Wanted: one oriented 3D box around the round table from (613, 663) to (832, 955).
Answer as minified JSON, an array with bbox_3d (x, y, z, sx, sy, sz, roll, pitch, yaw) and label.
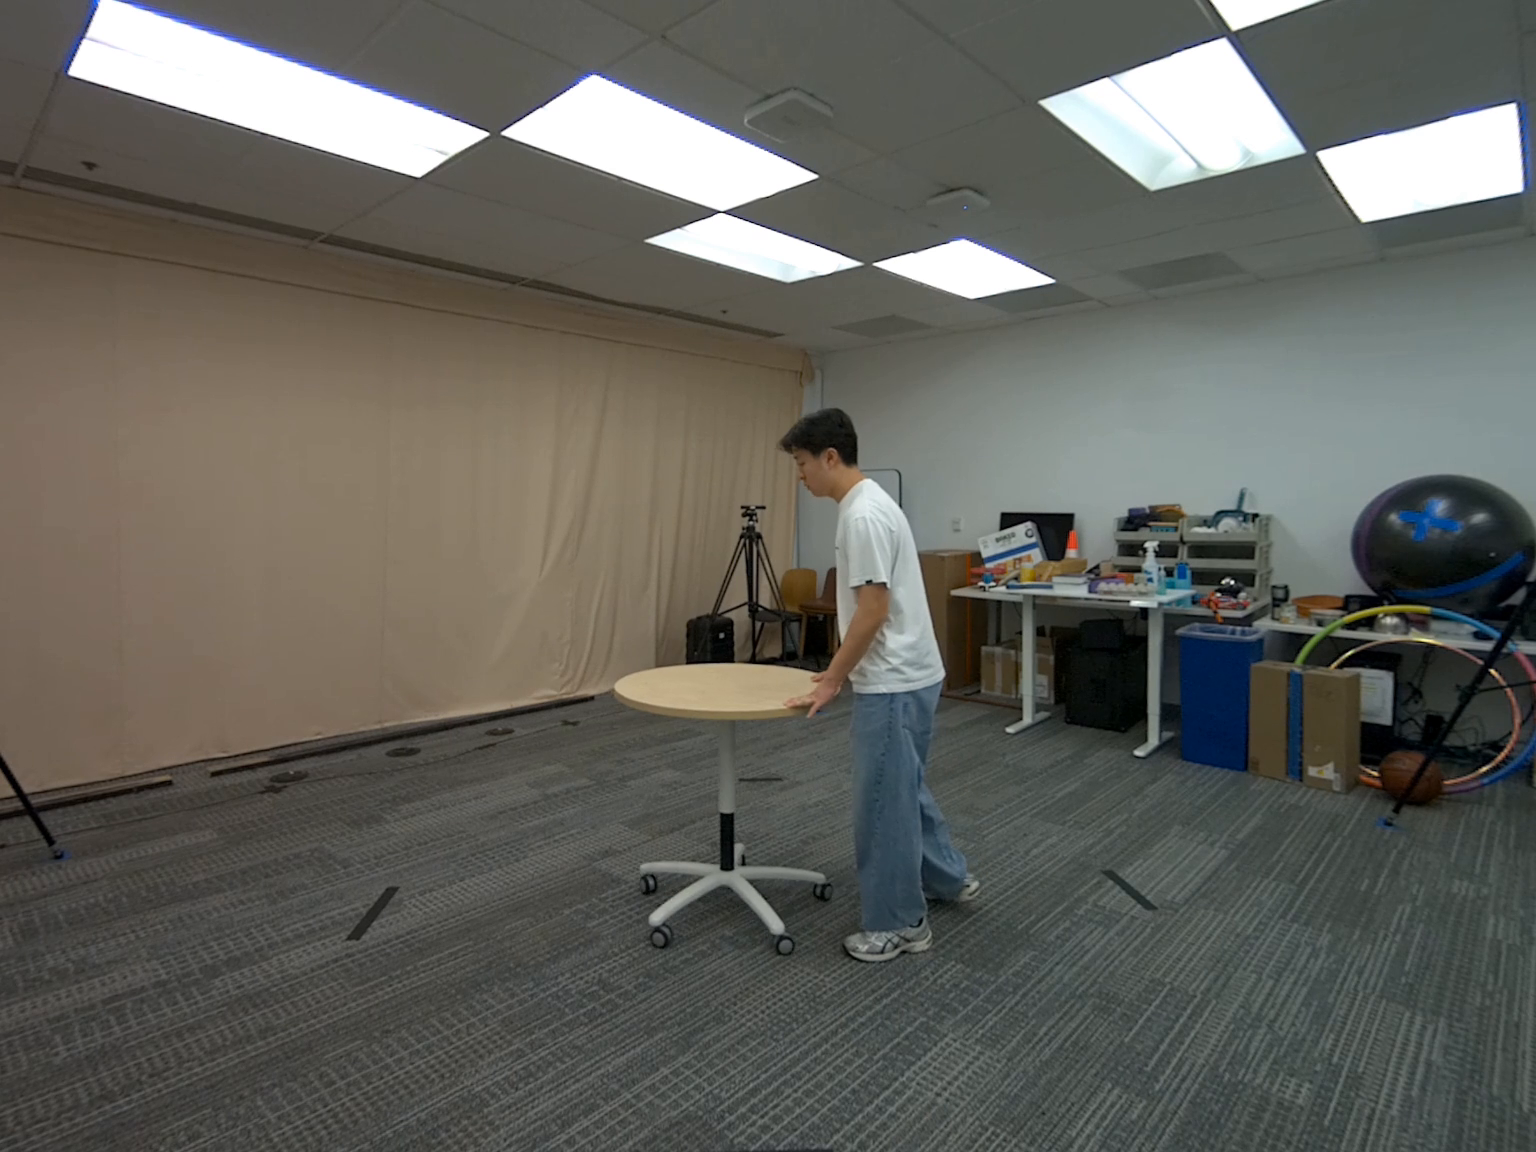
[{"bbox_3d":[-0.139,0.766,2.899,0.763,0.792,0.766,0,4,-2],"label":"round table"}]
